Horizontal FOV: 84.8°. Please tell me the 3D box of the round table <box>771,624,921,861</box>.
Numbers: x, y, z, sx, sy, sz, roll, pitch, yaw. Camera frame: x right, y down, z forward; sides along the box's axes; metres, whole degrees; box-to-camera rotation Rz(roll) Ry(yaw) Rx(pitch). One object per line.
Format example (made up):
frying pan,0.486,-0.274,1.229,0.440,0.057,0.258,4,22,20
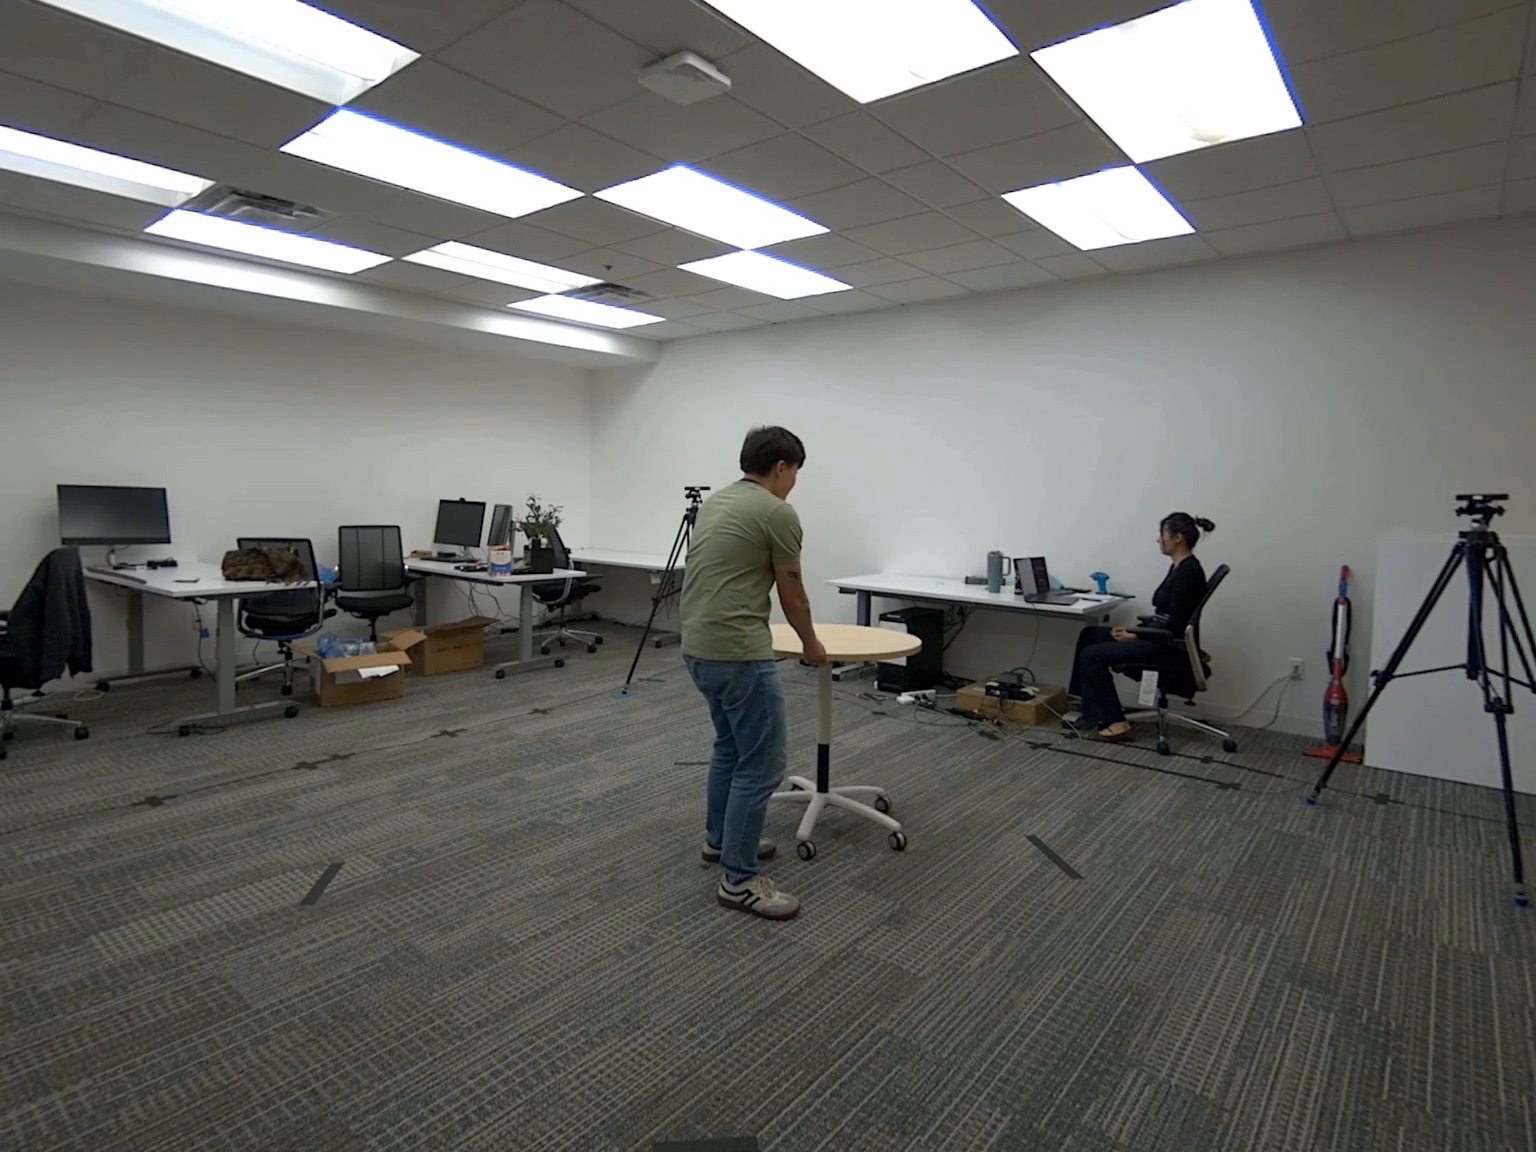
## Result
round table,0.218,0.641,3.507,0.763,0.792,0.767,1,4,-2
